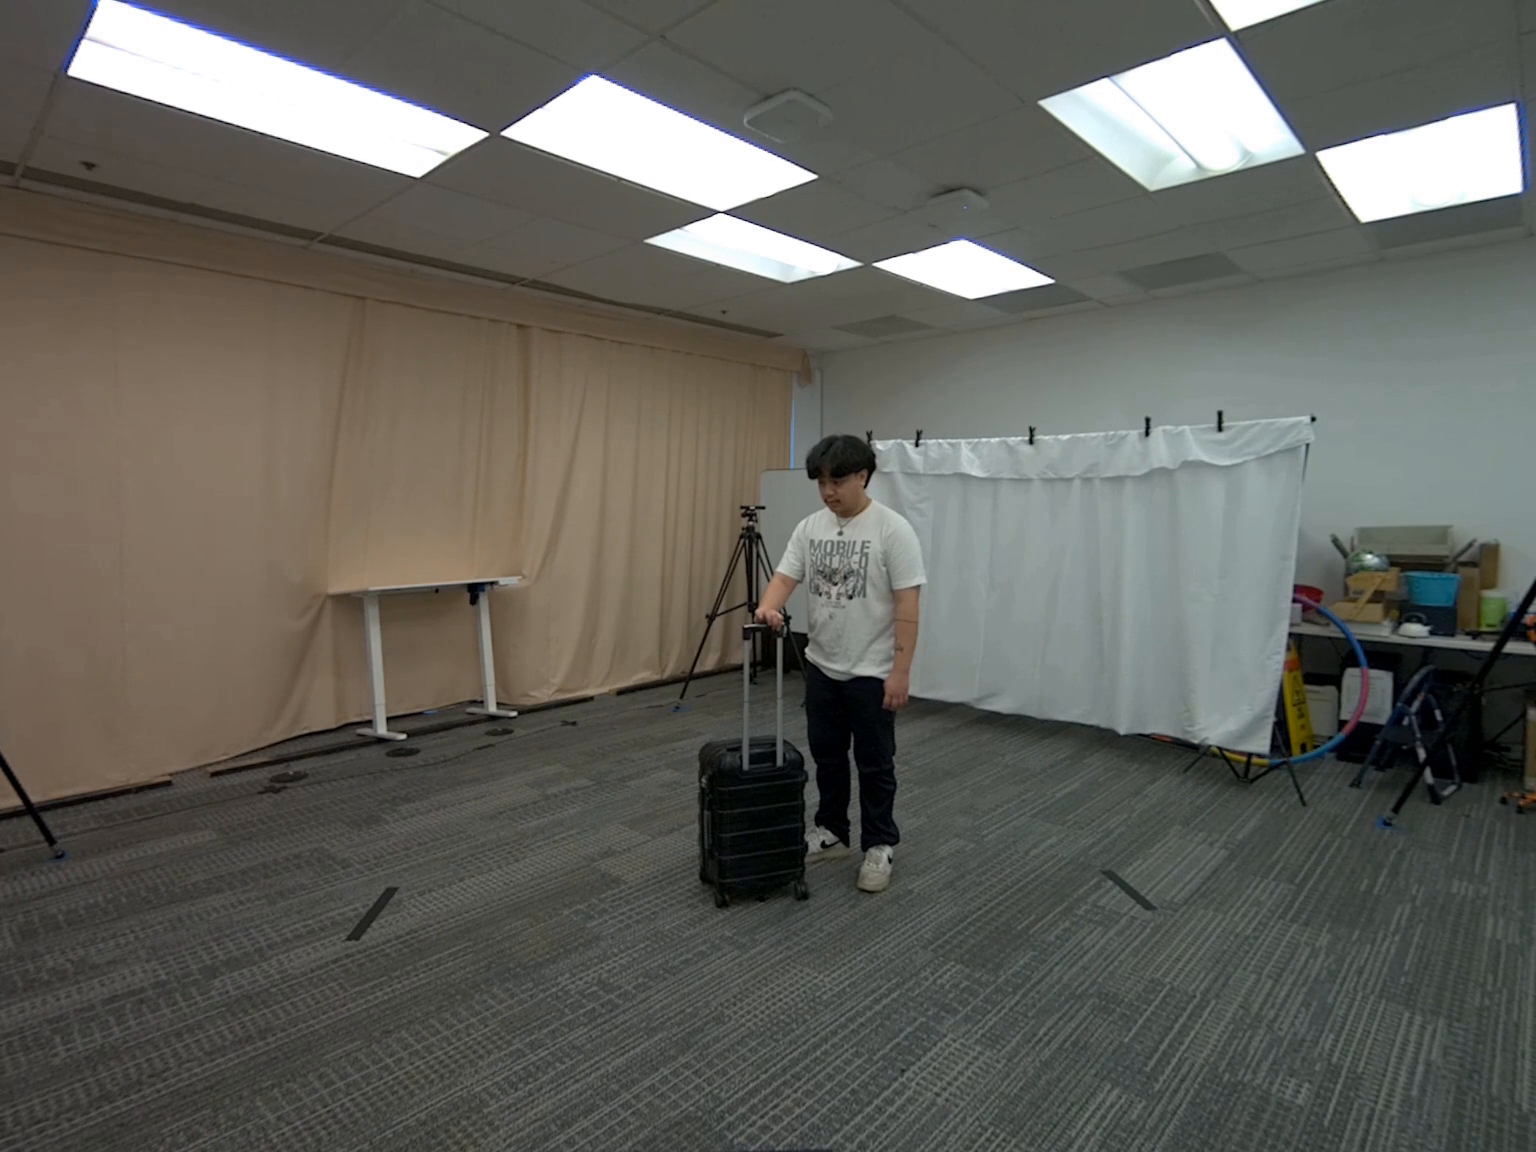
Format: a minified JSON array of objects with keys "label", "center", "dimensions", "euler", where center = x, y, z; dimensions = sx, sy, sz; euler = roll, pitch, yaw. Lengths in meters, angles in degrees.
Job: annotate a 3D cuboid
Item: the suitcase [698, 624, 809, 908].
[{"label":"suitcase","center":[-0.058,0.668,3.031],"dimensions":[0.377,0.978,0.262],"euler":[1,1,-17]}]
